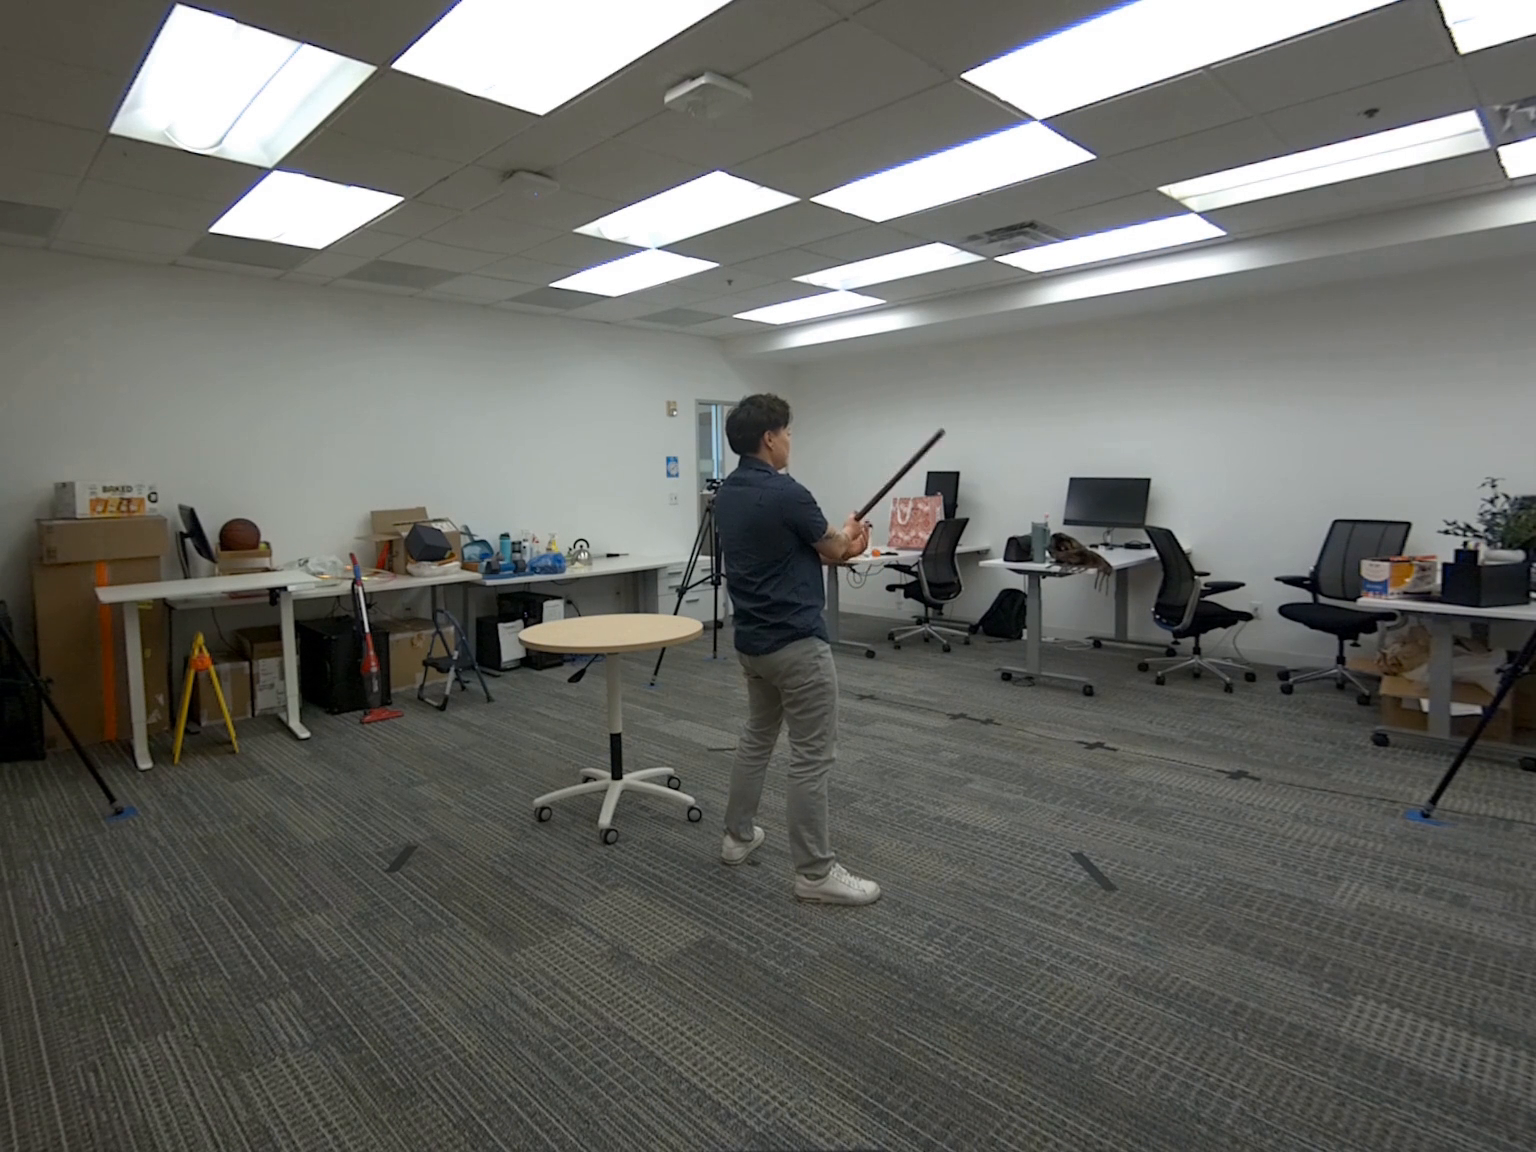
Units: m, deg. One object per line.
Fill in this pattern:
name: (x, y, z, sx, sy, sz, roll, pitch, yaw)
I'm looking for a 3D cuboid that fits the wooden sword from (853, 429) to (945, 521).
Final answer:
wooden sword: (0.340, -0.218, 3.195, 0.050, 0.024, 1.022, -17, -21, -40)
